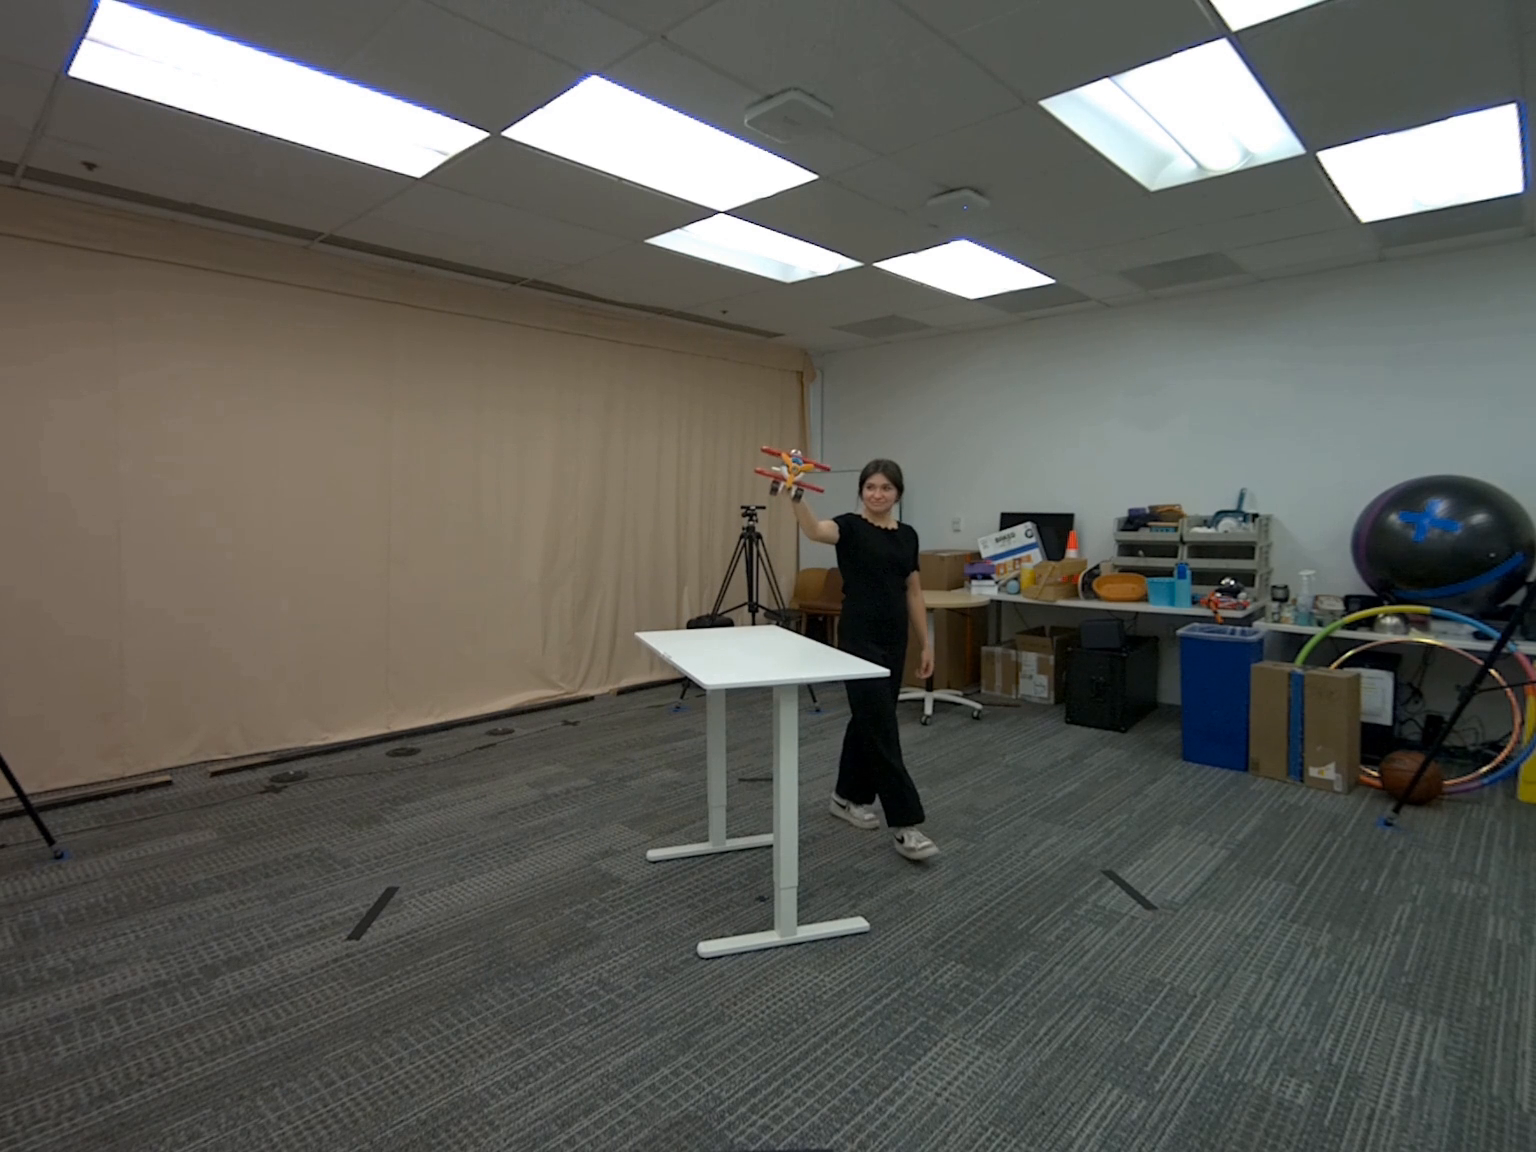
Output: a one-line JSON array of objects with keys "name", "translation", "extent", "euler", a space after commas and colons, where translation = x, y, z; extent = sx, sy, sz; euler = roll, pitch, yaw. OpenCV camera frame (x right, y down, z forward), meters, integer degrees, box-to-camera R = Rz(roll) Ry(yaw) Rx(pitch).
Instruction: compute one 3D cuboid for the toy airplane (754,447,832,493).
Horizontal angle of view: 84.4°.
[{"name": "toy airplane", "translation": [0.063, -0.367, 2.983], "extent": [0.243, 0.156, 0.268], "euler": [9, 20, -32]}]
